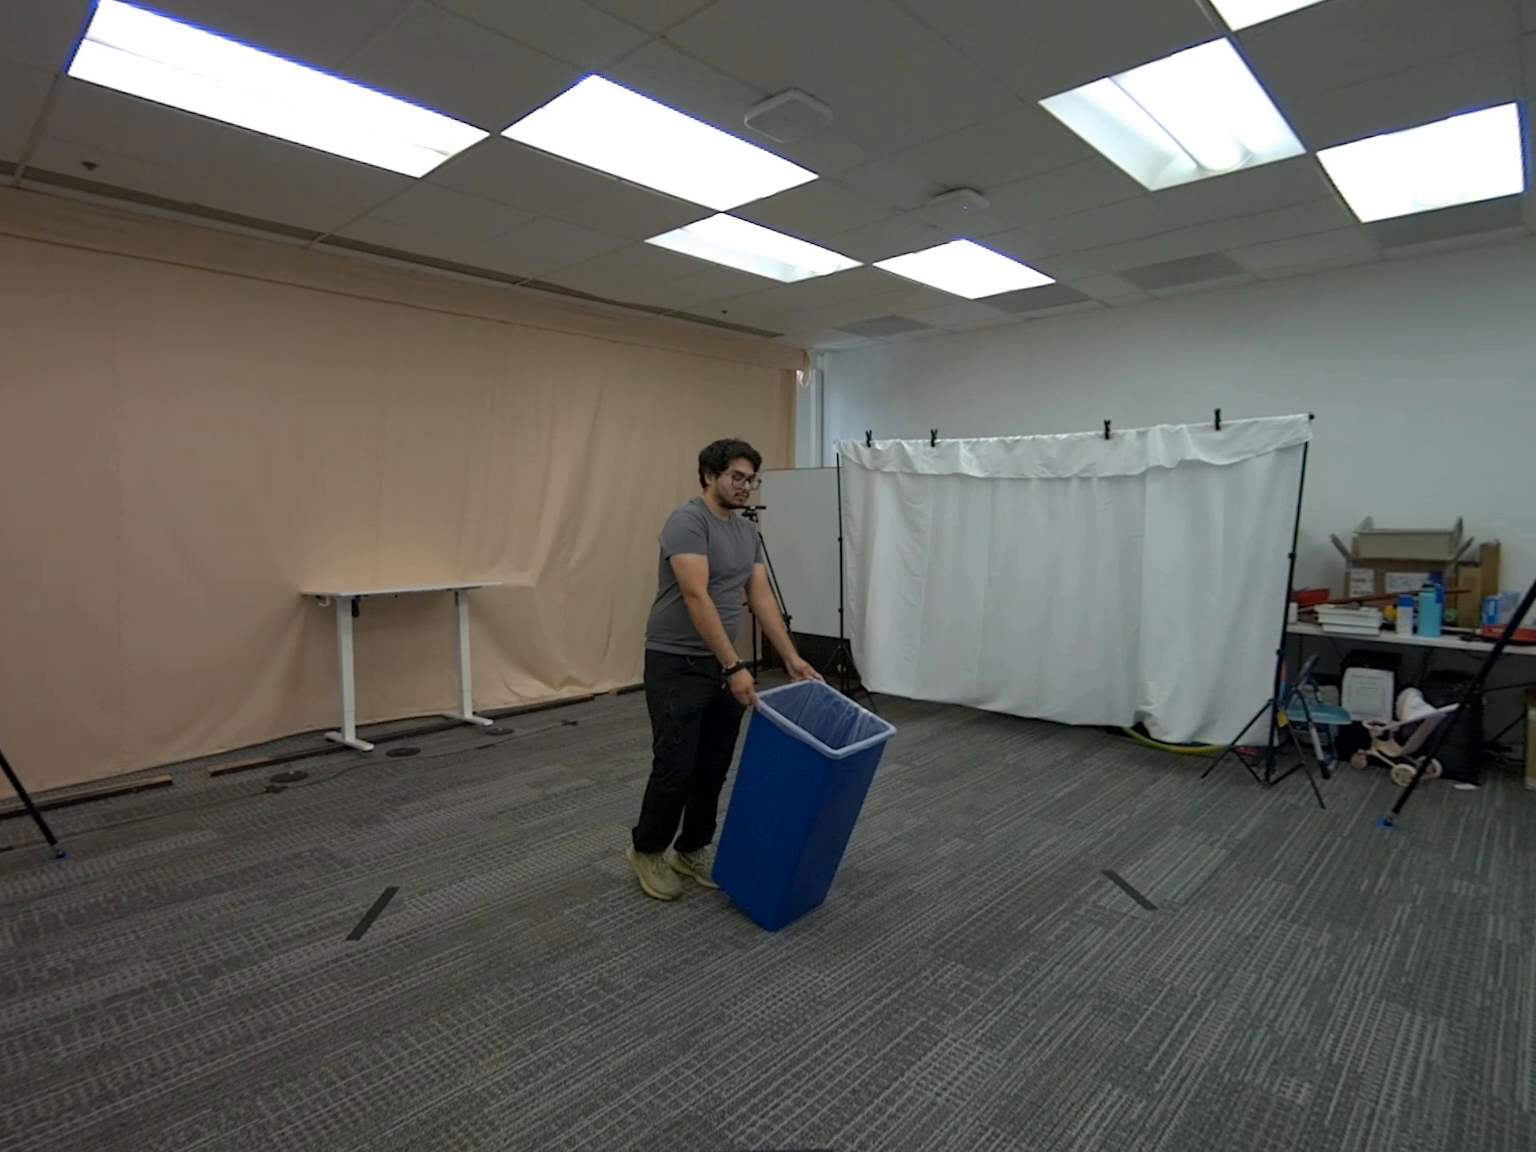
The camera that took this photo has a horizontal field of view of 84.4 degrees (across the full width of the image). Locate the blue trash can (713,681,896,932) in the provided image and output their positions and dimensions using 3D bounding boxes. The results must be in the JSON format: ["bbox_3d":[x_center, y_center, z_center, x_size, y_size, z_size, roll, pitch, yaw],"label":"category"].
[{"bbox_3d":[0.089,0.770,2.838,0.387,0.710,0.367,28,21,36],"label":"blue trash can"}]
